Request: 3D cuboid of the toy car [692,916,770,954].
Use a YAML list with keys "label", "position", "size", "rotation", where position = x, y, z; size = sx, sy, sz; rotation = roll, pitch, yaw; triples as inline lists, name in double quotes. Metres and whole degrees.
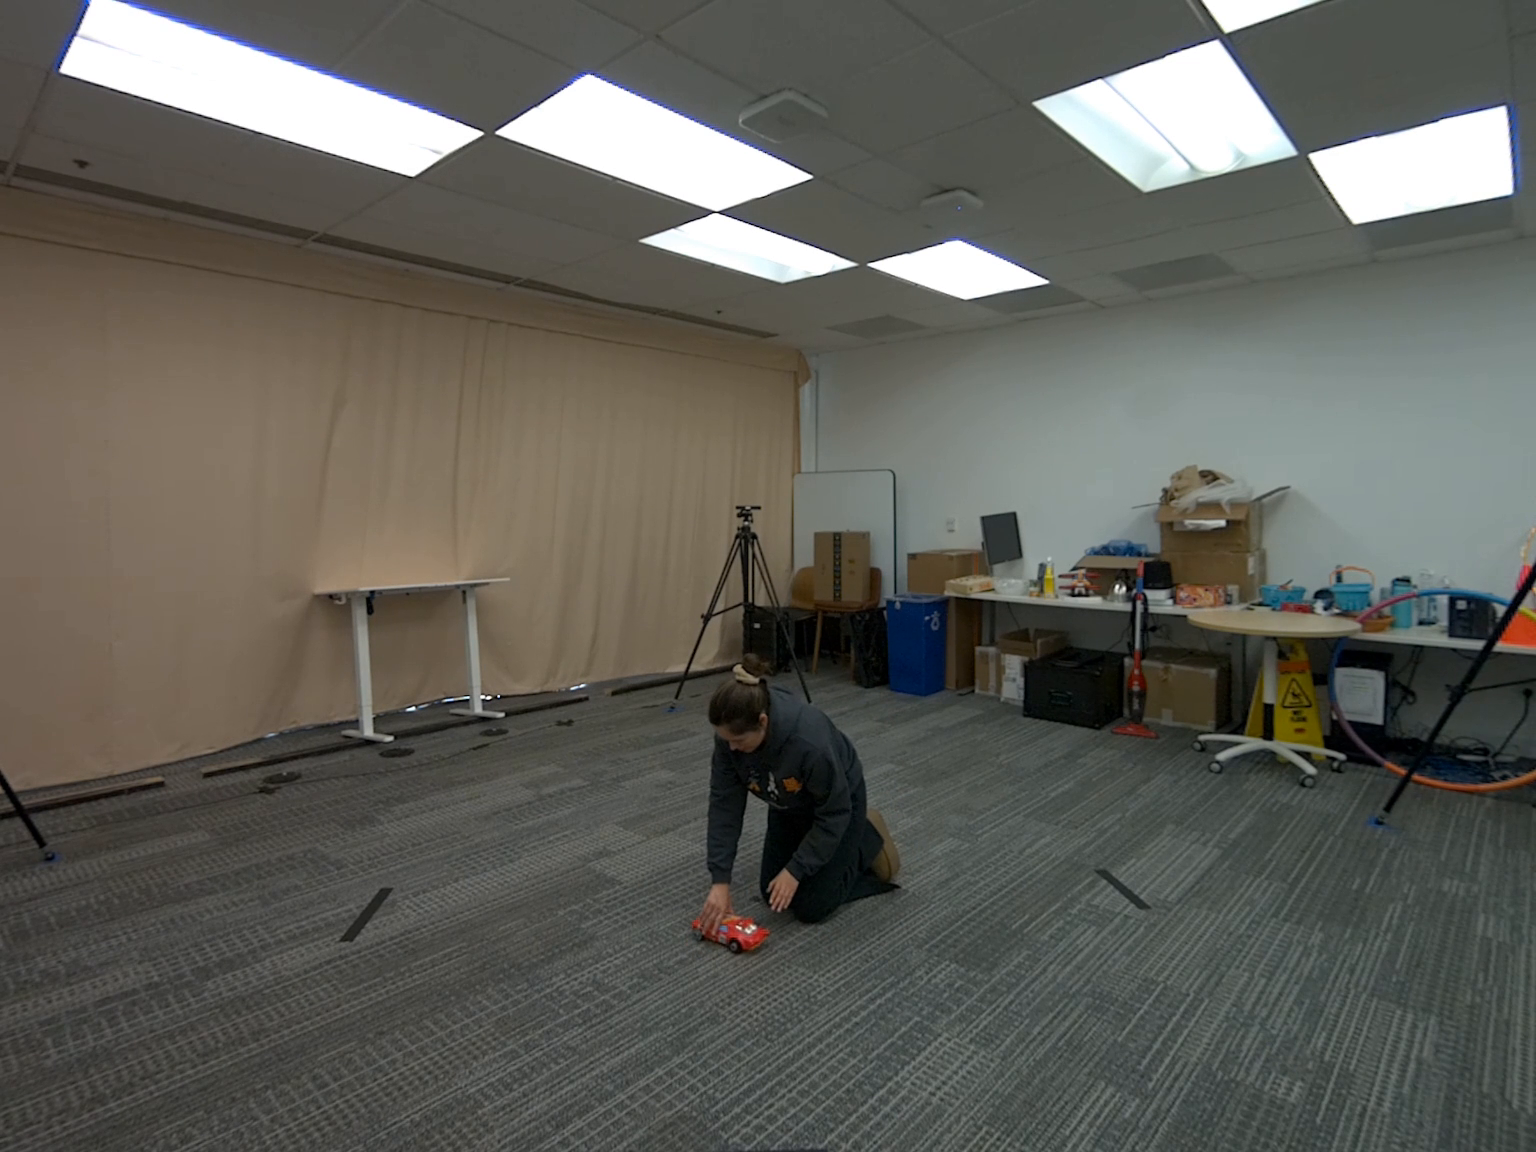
- label: "toy car"
  position: [-0.094, 1.141, 2.686]
  size: [0.261, 0.083, 0.127]
  rotation: [-12, -1, 34]
